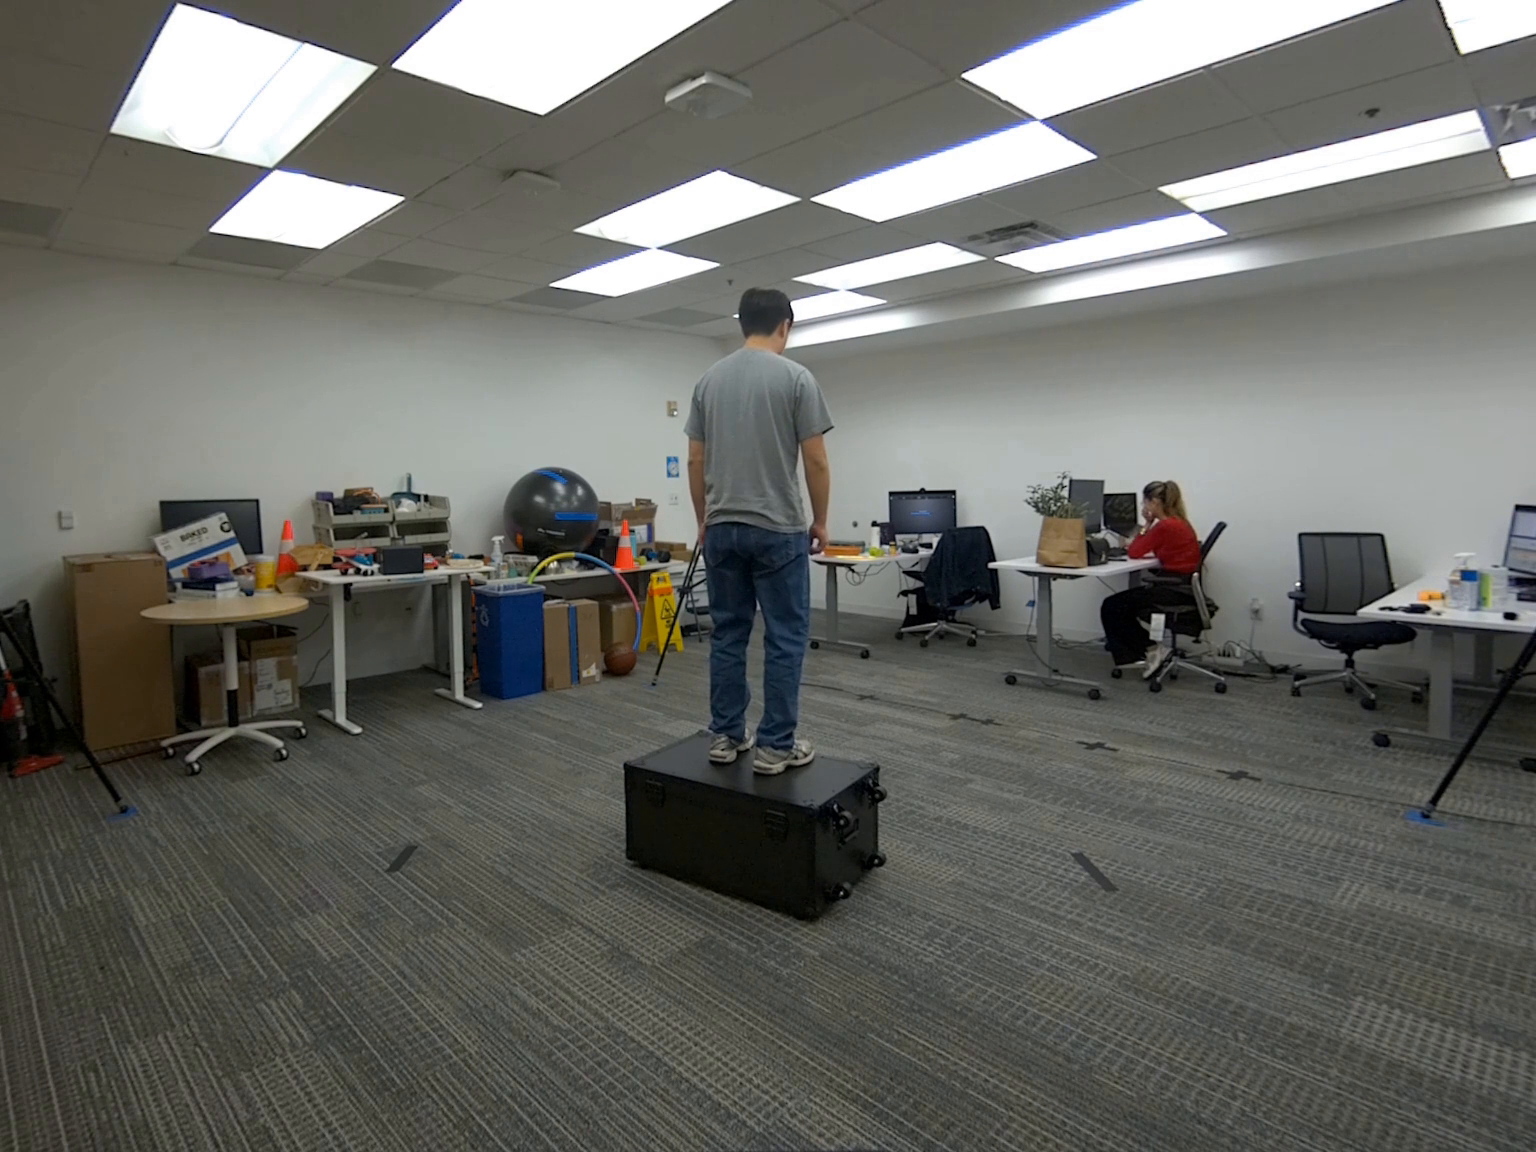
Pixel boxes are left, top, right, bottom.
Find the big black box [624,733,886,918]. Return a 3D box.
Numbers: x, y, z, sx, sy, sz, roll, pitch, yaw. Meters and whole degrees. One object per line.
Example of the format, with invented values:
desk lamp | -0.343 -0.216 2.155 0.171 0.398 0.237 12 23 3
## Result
big black box | -0.032 0.860 3.050 0.885 0.395 0.509 3 6 33
